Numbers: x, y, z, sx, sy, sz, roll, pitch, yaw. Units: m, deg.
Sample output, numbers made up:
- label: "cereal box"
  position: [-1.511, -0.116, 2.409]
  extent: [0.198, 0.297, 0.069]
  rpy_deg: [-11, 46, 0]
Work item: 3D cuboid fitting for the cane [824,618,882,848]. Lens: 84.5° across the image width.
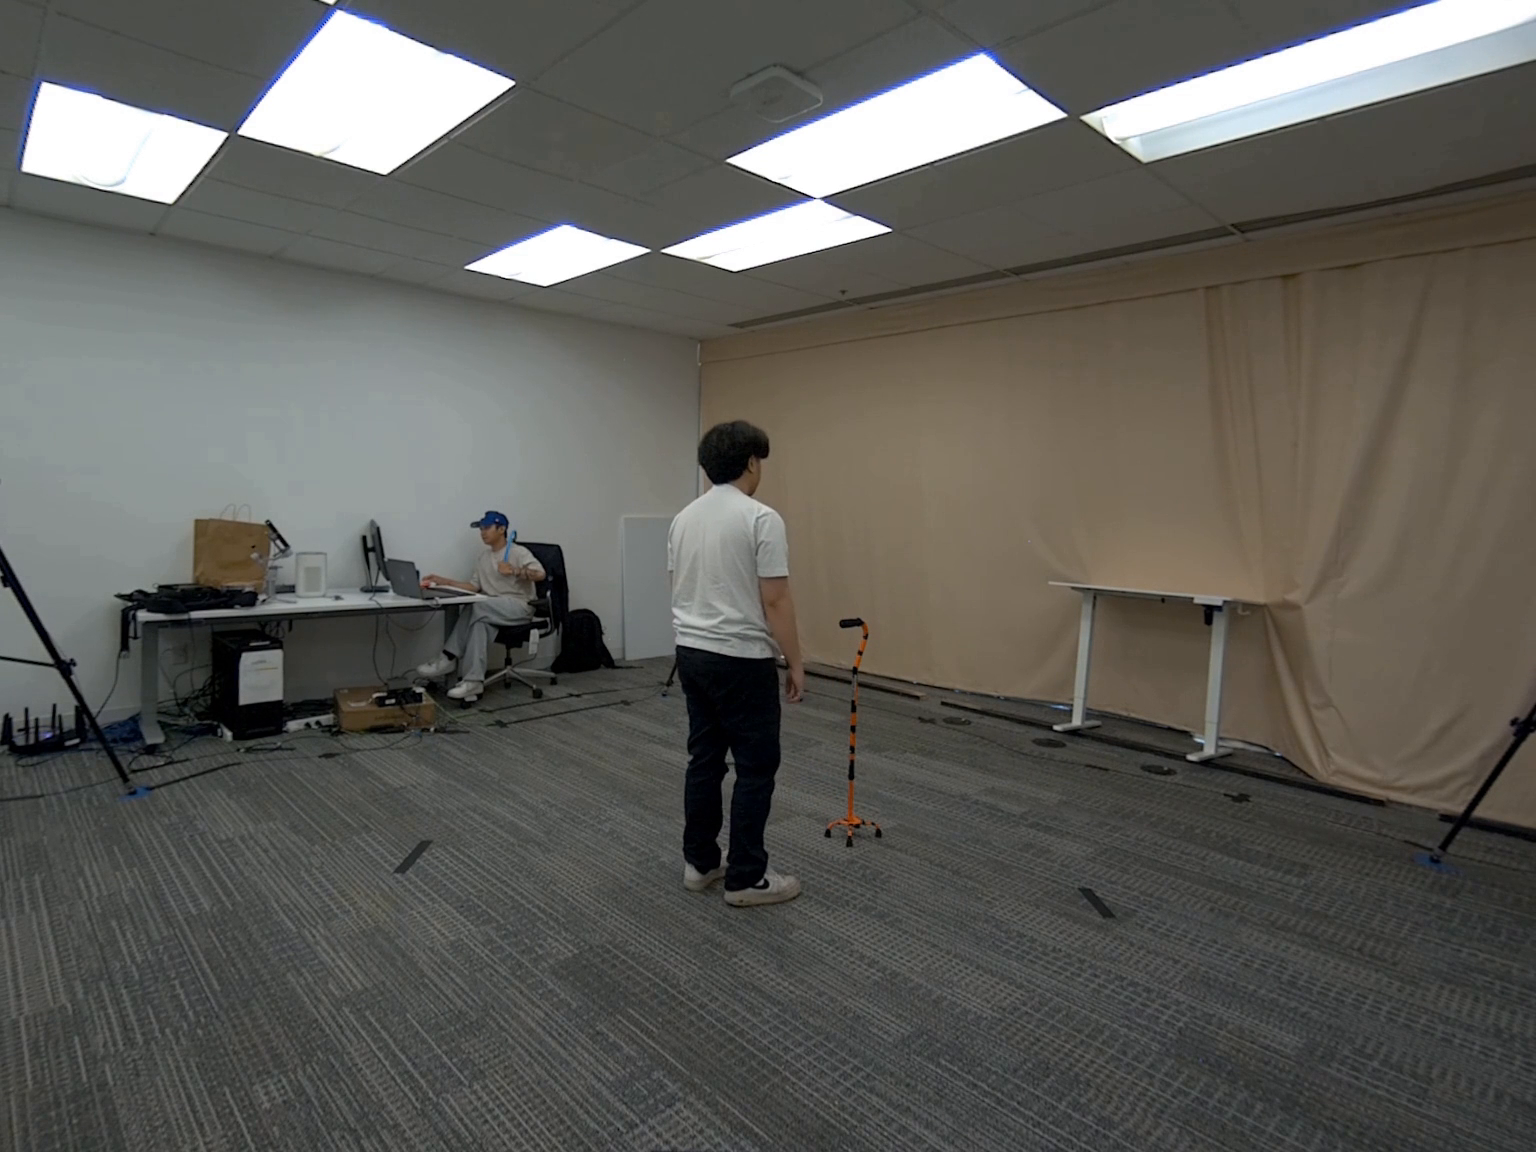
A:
- label: "cane"
  position: [0.357, 0.633, 3.490]
  extent: [0.201, 0.907, 0.155]
  rpy_deg: [0, 2, -43]
